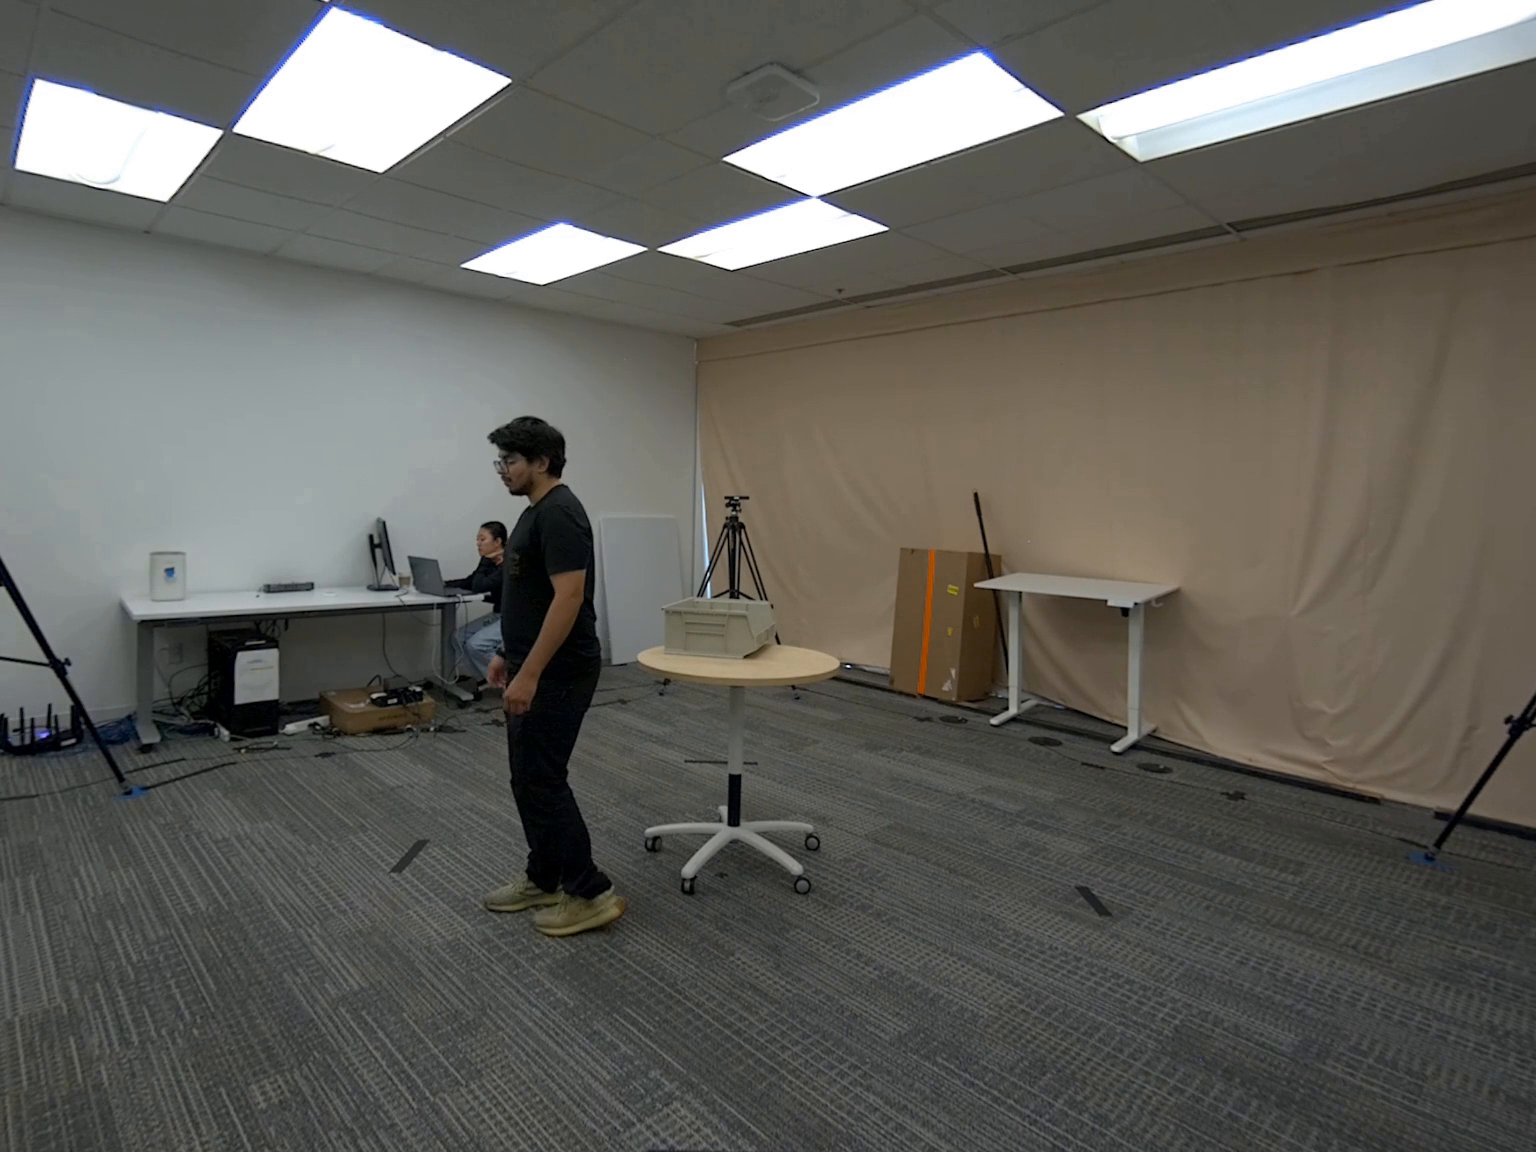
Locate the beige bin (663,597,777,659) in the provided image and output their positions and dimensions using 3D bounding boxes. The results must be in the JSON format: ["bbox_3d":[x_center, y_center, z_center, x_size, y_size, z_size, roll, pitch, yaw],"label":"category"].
[{"bbox_3d":[-0.192,0.210,3.404,0.381,0.188,0.419,2,4,12],"label":"beige bin"}]
